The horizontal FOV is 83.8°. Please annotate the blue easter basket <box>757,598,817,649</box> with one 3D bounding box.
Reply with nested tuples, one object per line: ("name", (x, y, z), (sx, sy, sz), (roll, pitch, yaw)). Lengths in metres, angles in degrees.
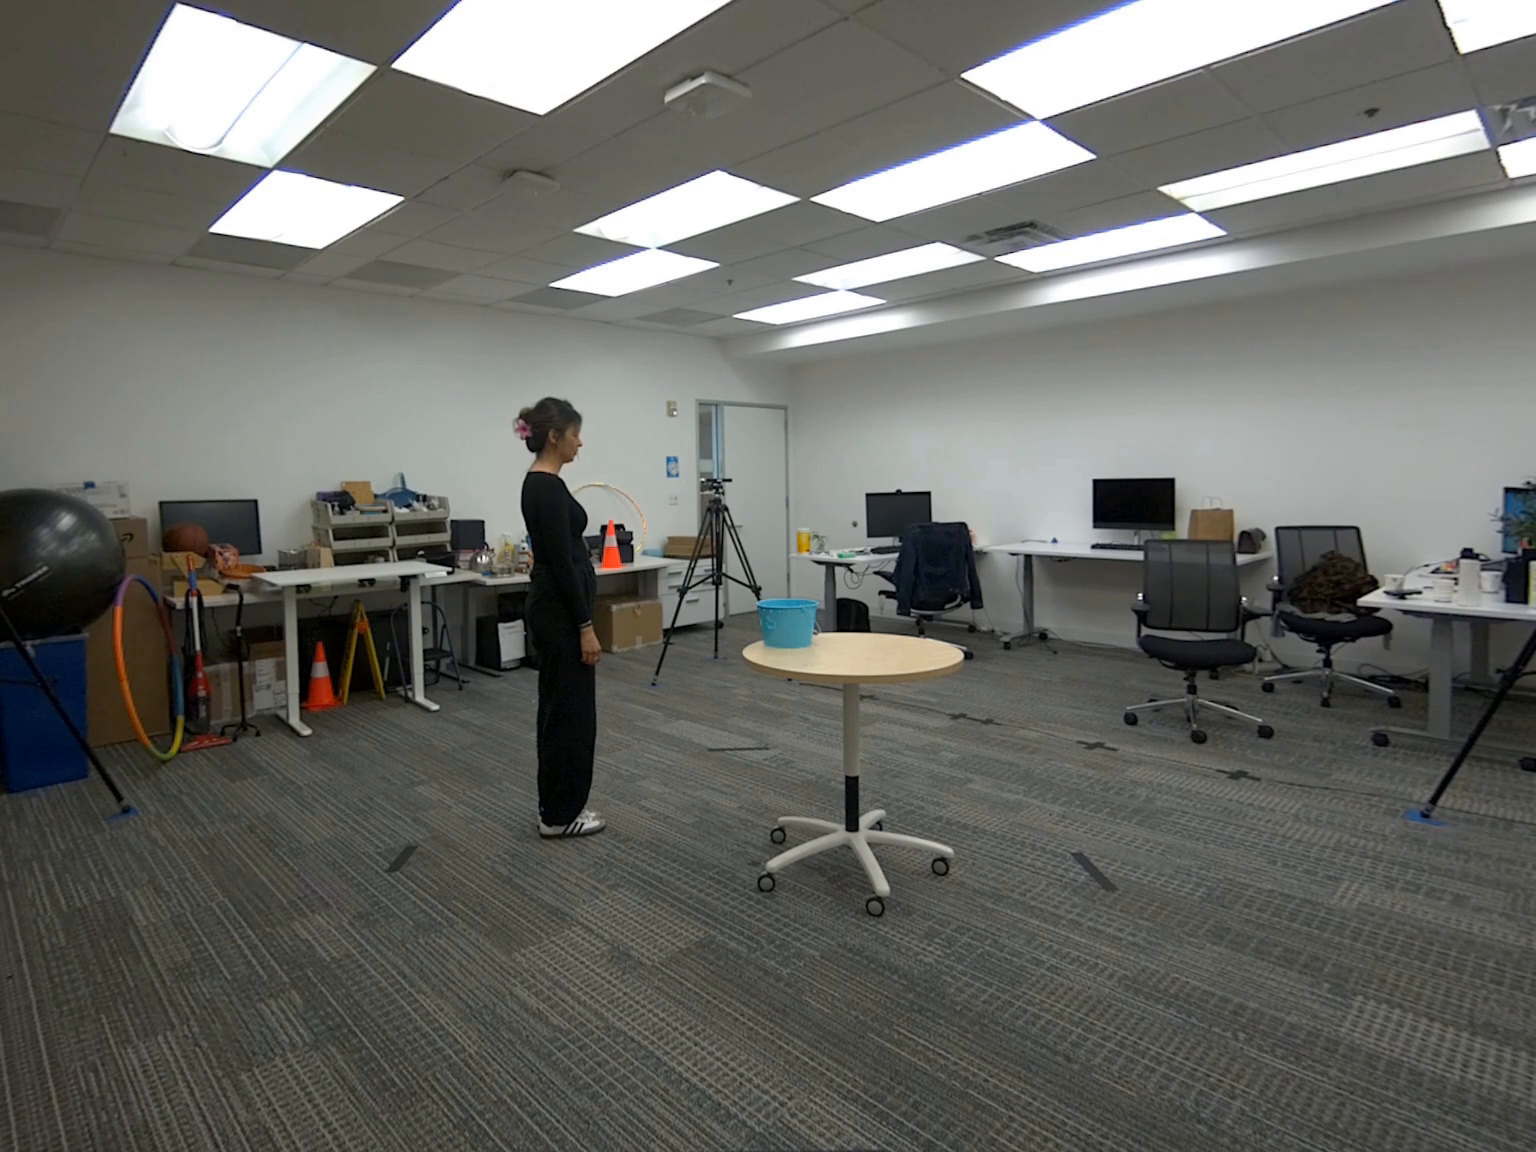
("blue easter basket", (0.073, 0.180, 3.171), (0.243, 0.155, 0.245), (-3, 7, -1))
